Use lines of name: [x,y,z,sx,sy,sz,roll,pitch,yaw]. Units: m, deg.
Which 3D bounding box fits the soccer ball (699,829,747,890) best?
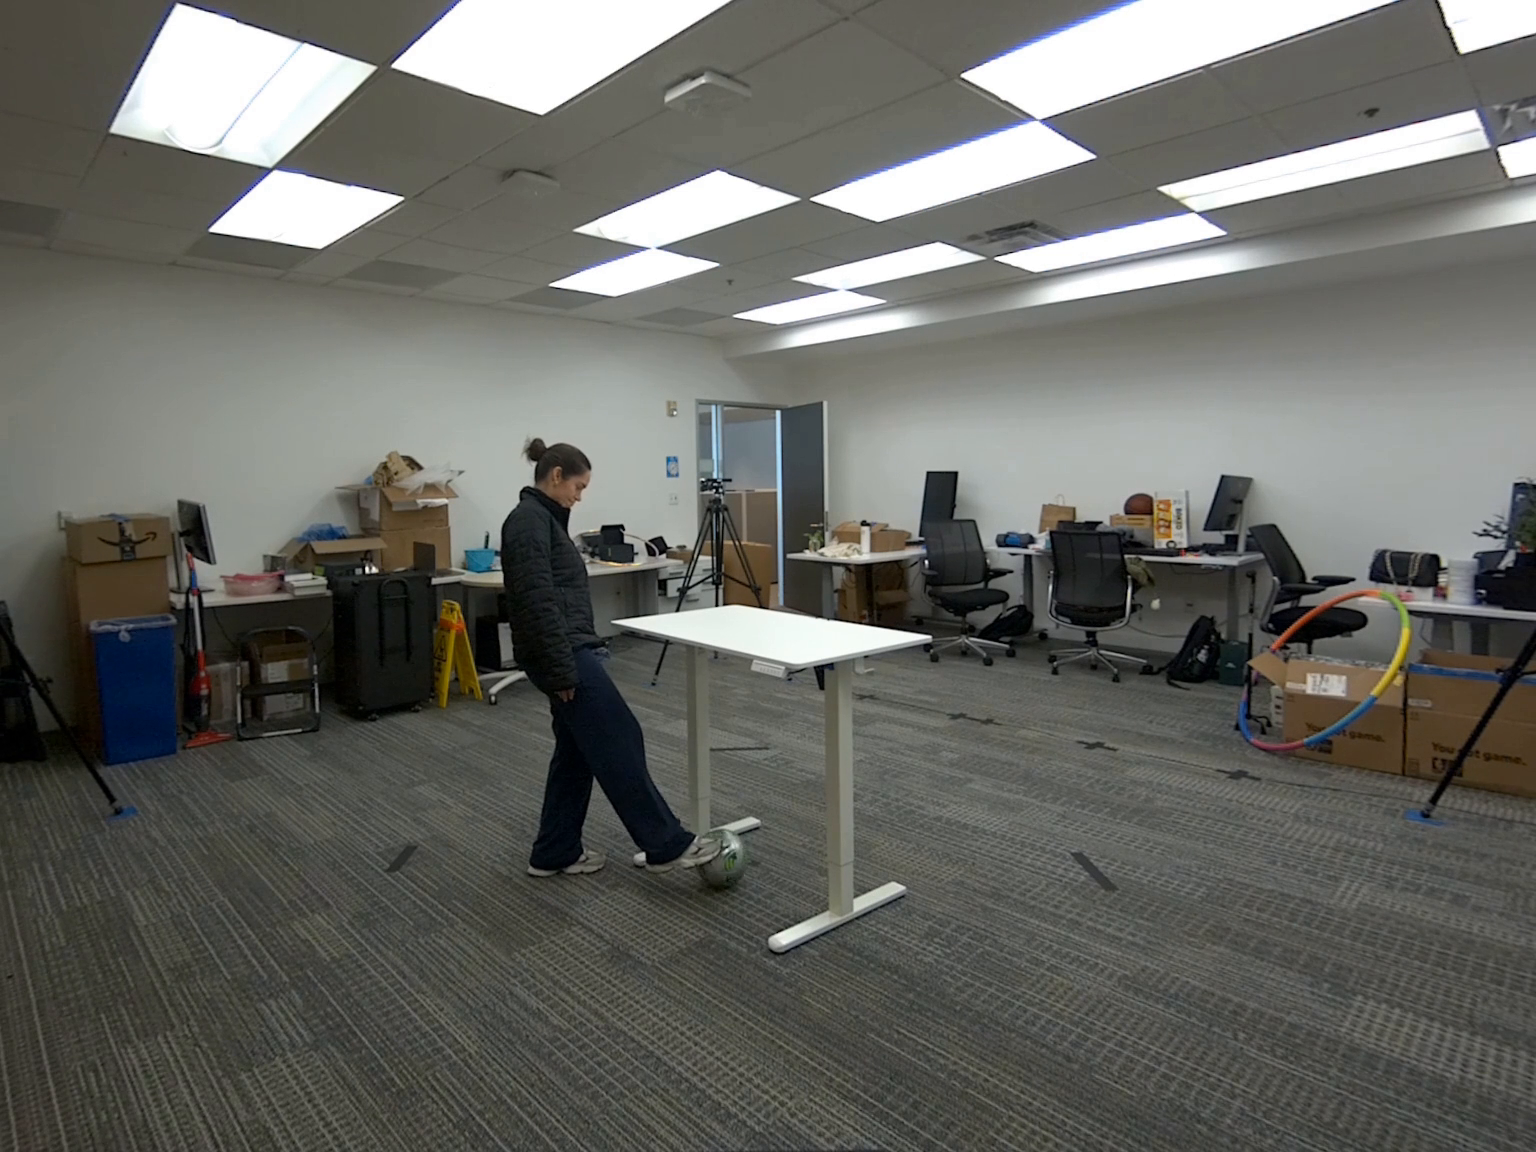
soccer ball: [-0.160,0.971,2.939,0.187,0.187,0.188,-1,5,-2]
